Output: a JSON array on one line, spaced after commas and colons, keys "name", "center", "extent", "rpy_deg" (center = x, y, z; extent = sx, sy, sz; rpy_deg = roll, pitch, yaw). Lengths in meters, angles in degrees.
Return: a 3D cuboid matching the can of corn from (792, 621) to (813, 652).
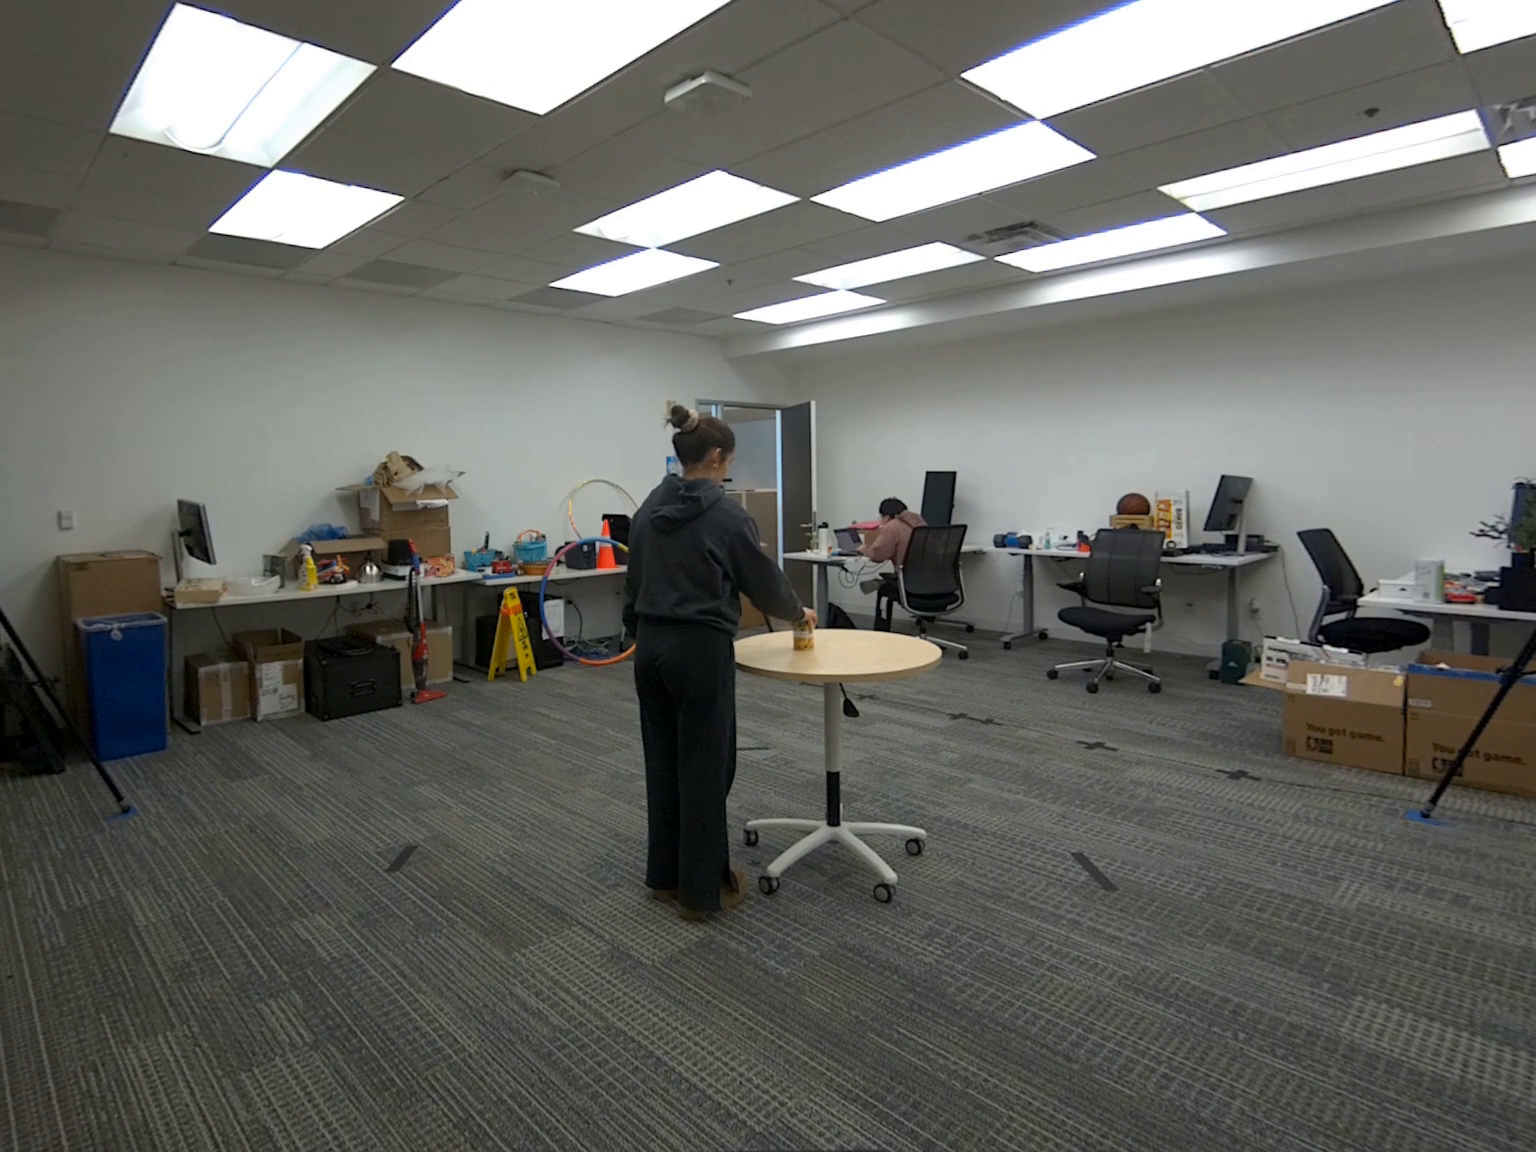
[{"name": "can of corn", "center": [0.134, 0.207, 3.074], "extent": [0.074, 0.110, 0.074], "rpy_deg": [1, 5, -2]}]
